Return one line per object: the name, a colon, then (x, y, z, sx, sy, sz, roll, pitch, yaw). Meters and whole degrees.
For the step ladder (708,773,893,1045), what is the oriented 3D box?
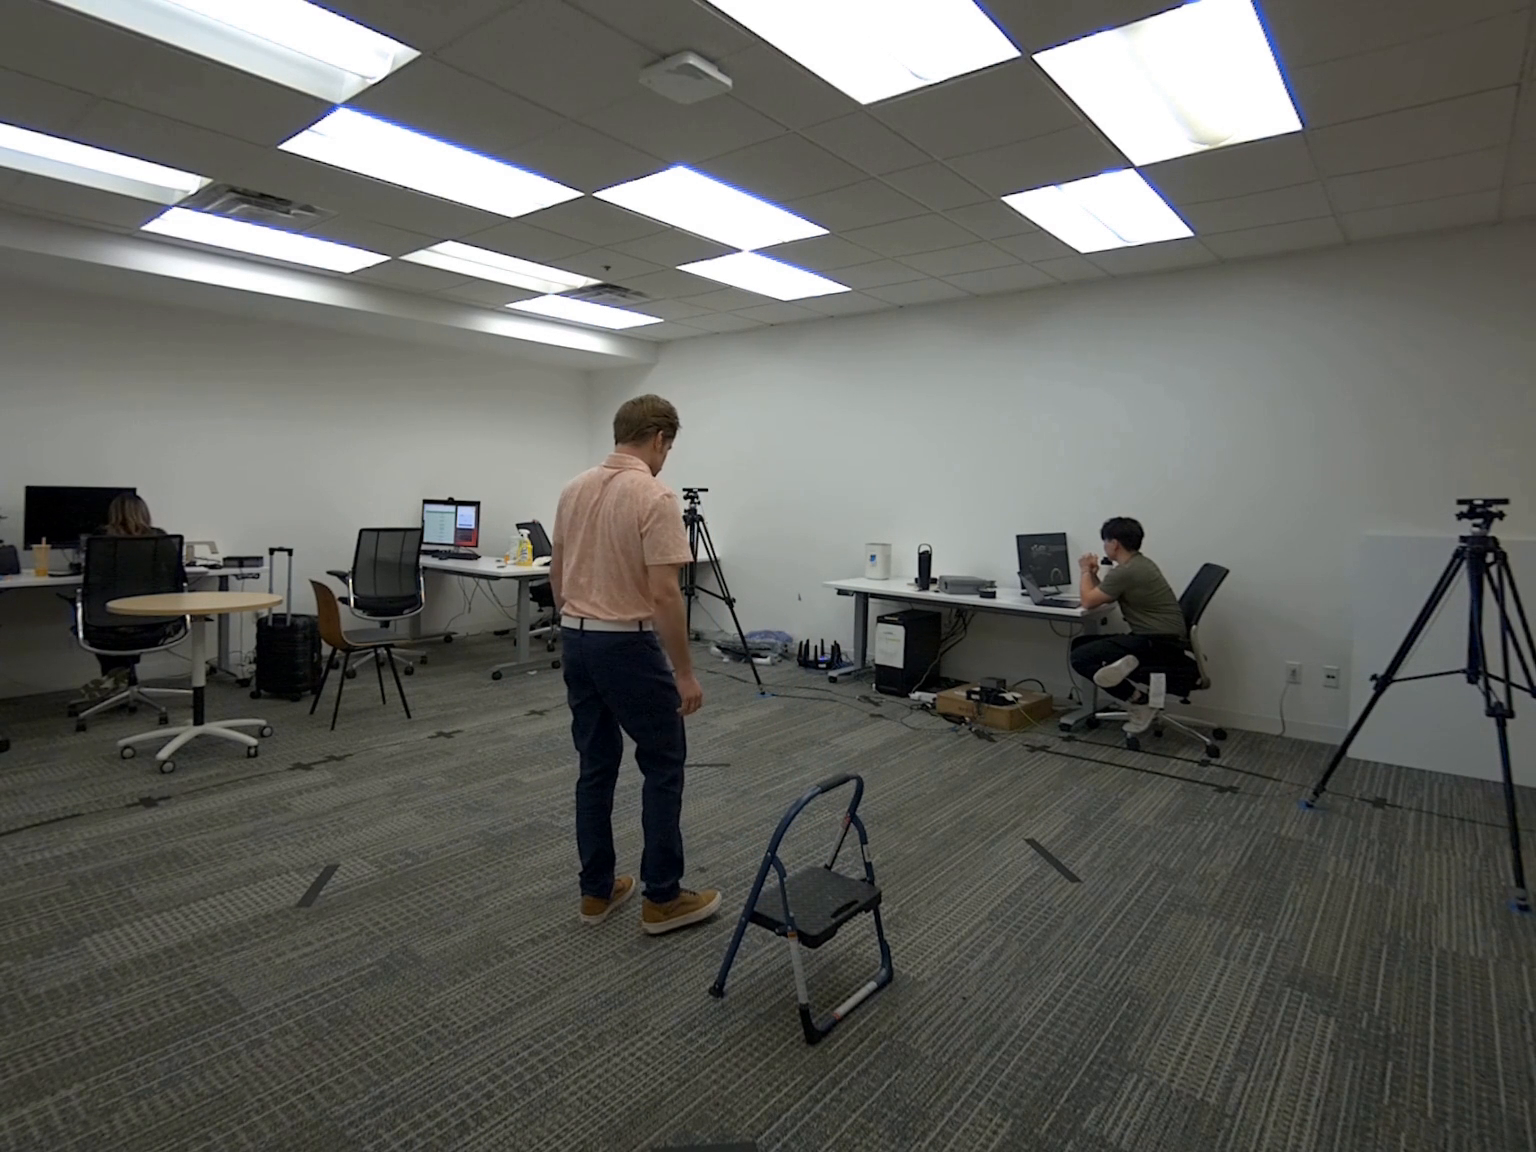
step ladder: (0.102, 0.846, 2.377, 0.361, 0.604, 0.418, 4, 5, 38)
